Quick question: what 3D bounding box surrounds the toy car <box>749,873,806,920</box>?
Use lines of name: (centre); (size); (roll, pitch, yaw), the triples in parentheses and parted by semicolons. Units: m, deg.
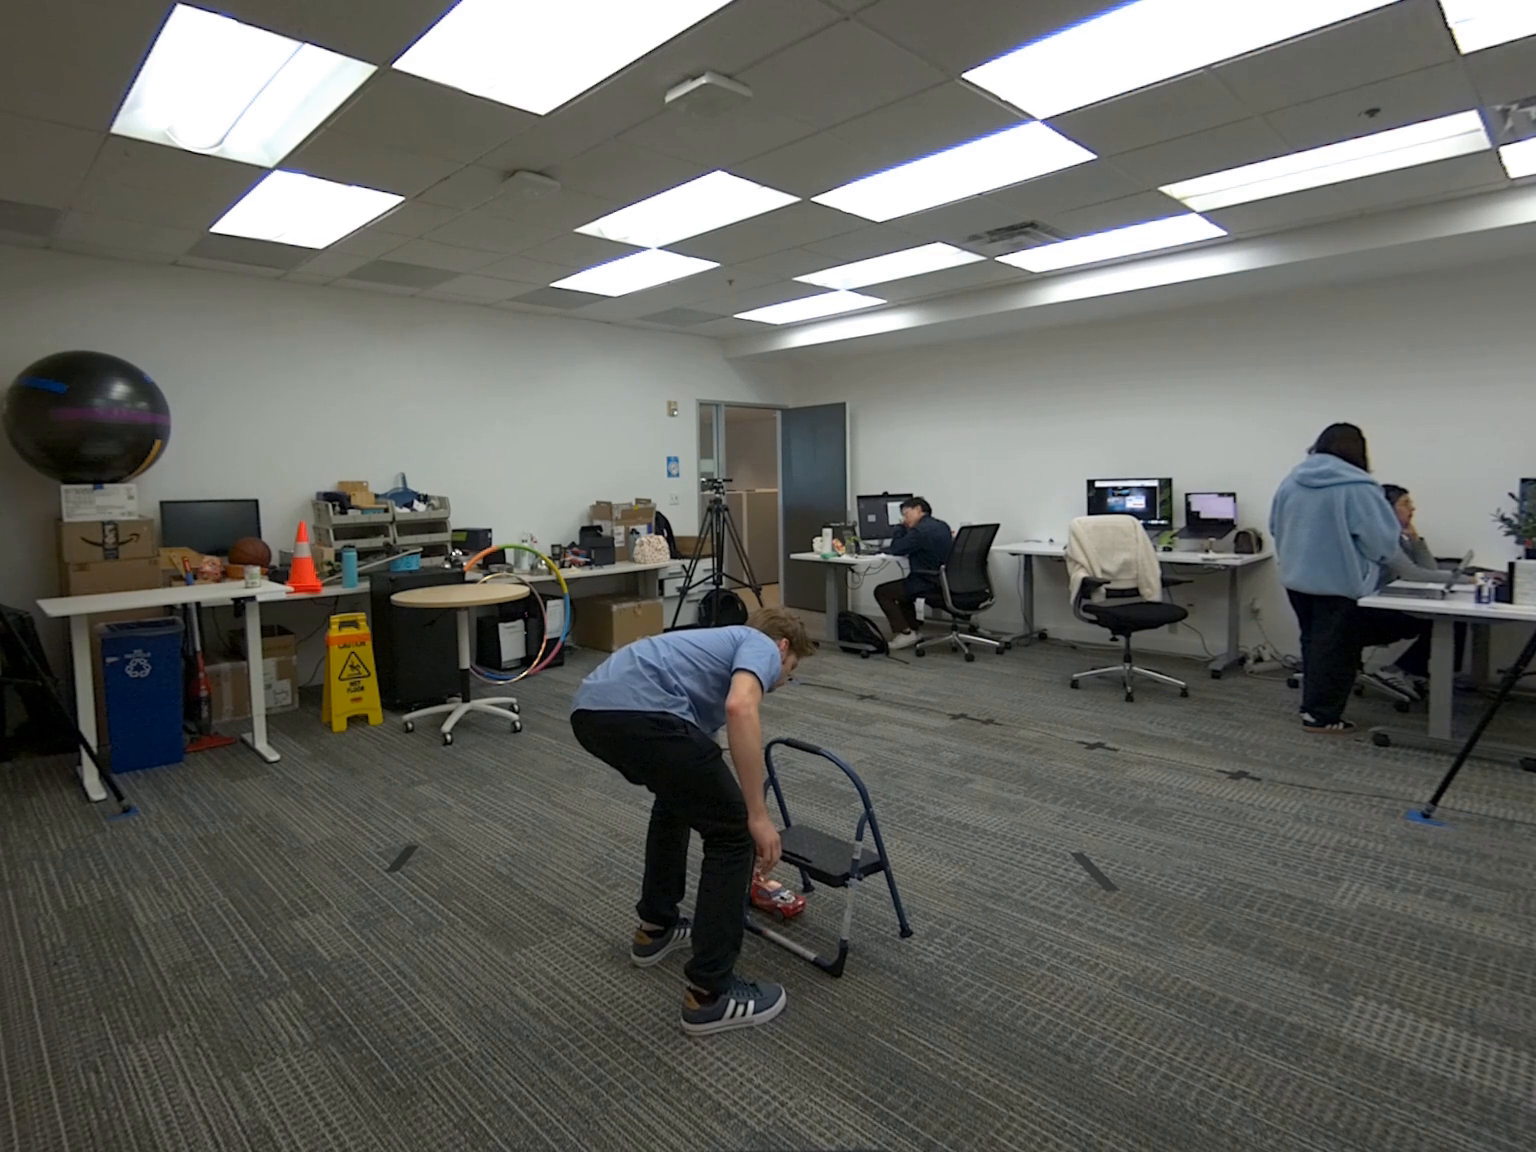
toy car: (0.014, 1.051, 2.790); (0.127, 0.082, 0.264); (-7, 18, -42)
